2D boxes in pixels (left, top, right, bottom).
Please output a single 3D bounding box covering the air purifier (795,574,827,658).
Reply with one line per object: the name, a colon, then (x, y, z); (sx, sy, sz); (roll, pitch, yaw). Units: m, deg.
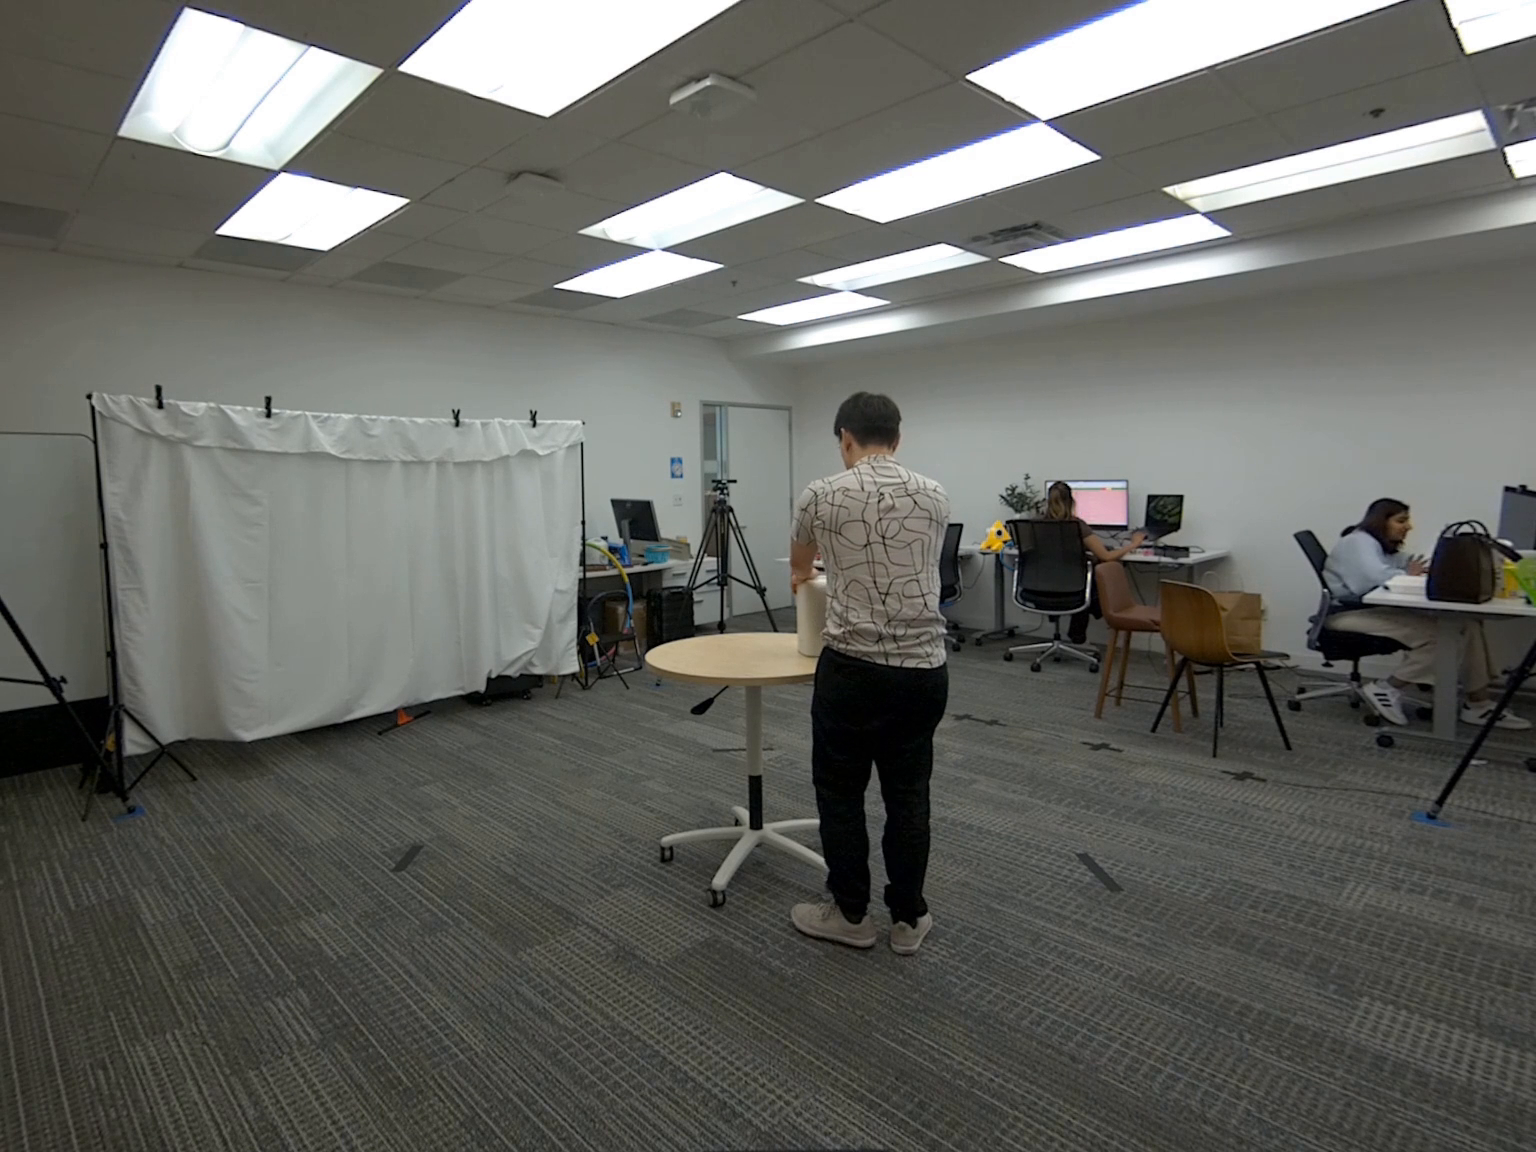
air purifier: (0.197, 0.136, 3.020); (0.171, 0.264, 0.173); (-2, 5, -6)
